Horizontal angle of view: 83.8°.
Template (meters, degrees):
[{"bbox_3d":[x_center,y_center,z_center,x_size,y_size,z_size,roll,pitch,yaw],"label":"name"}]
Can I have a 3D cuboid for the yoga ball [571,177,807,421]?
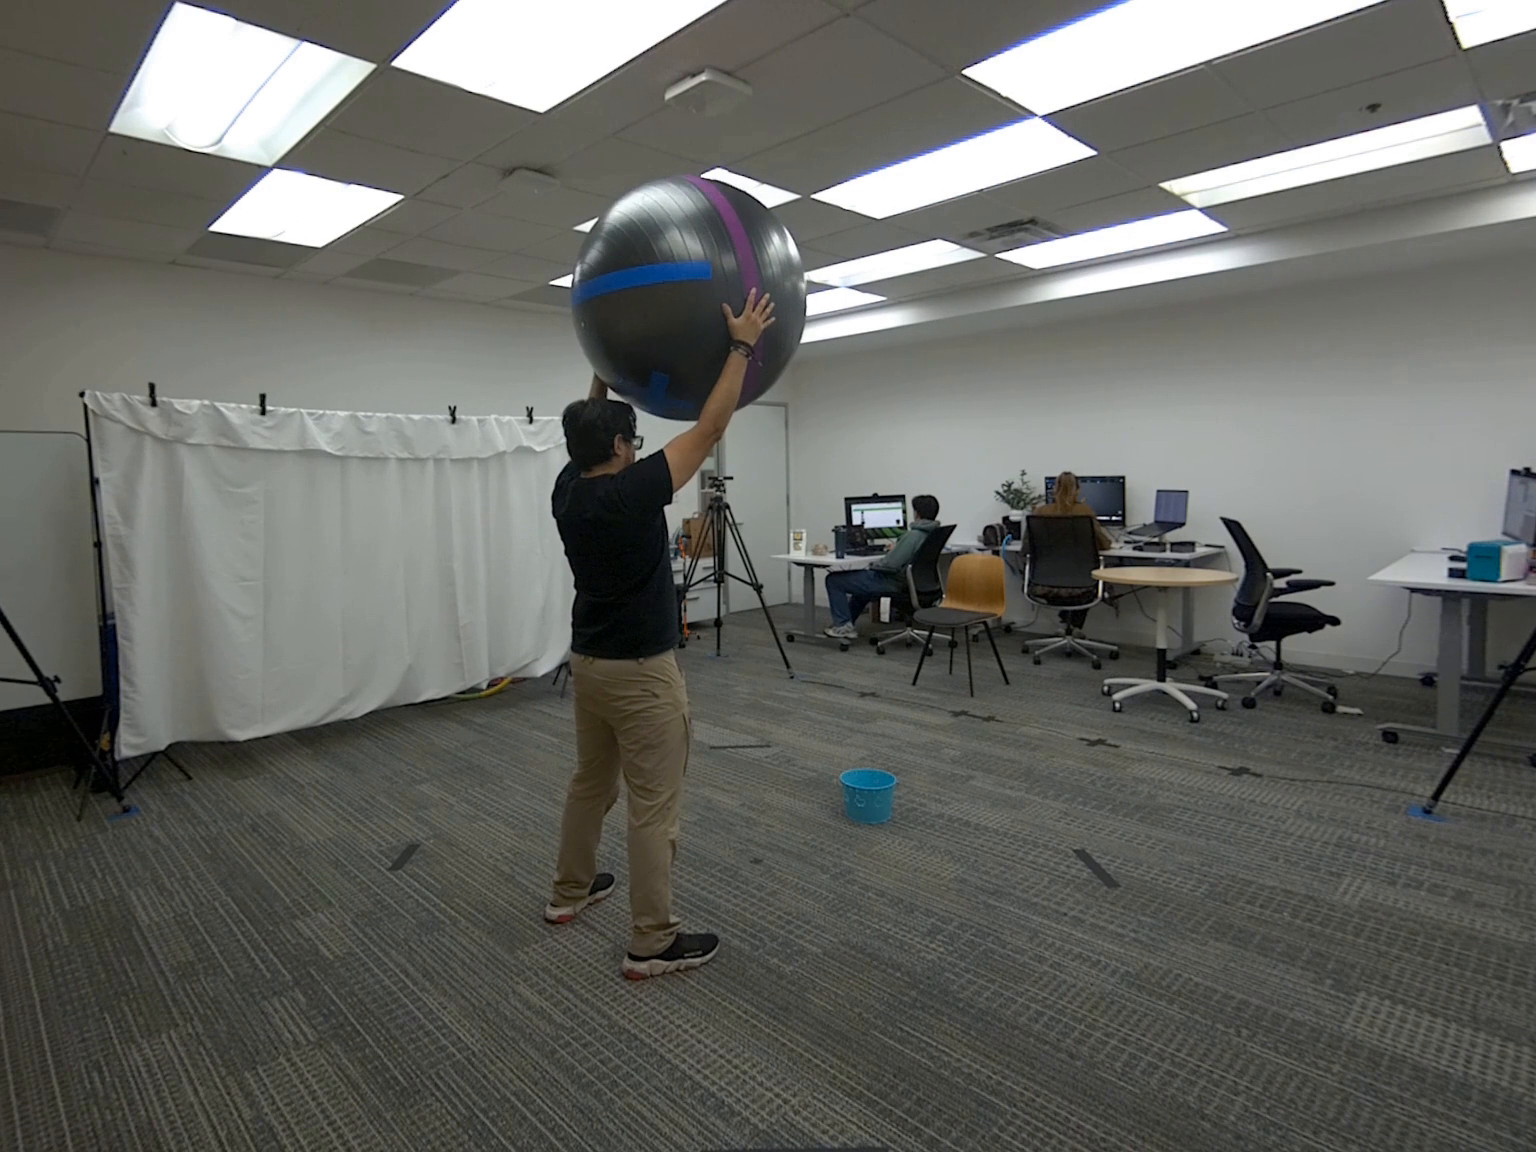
[{"bbox_3d":[-0.247,-0.874,2.755,0.757,0.755,0.762,-1,5,-2],"label":"yoga ball"}]
